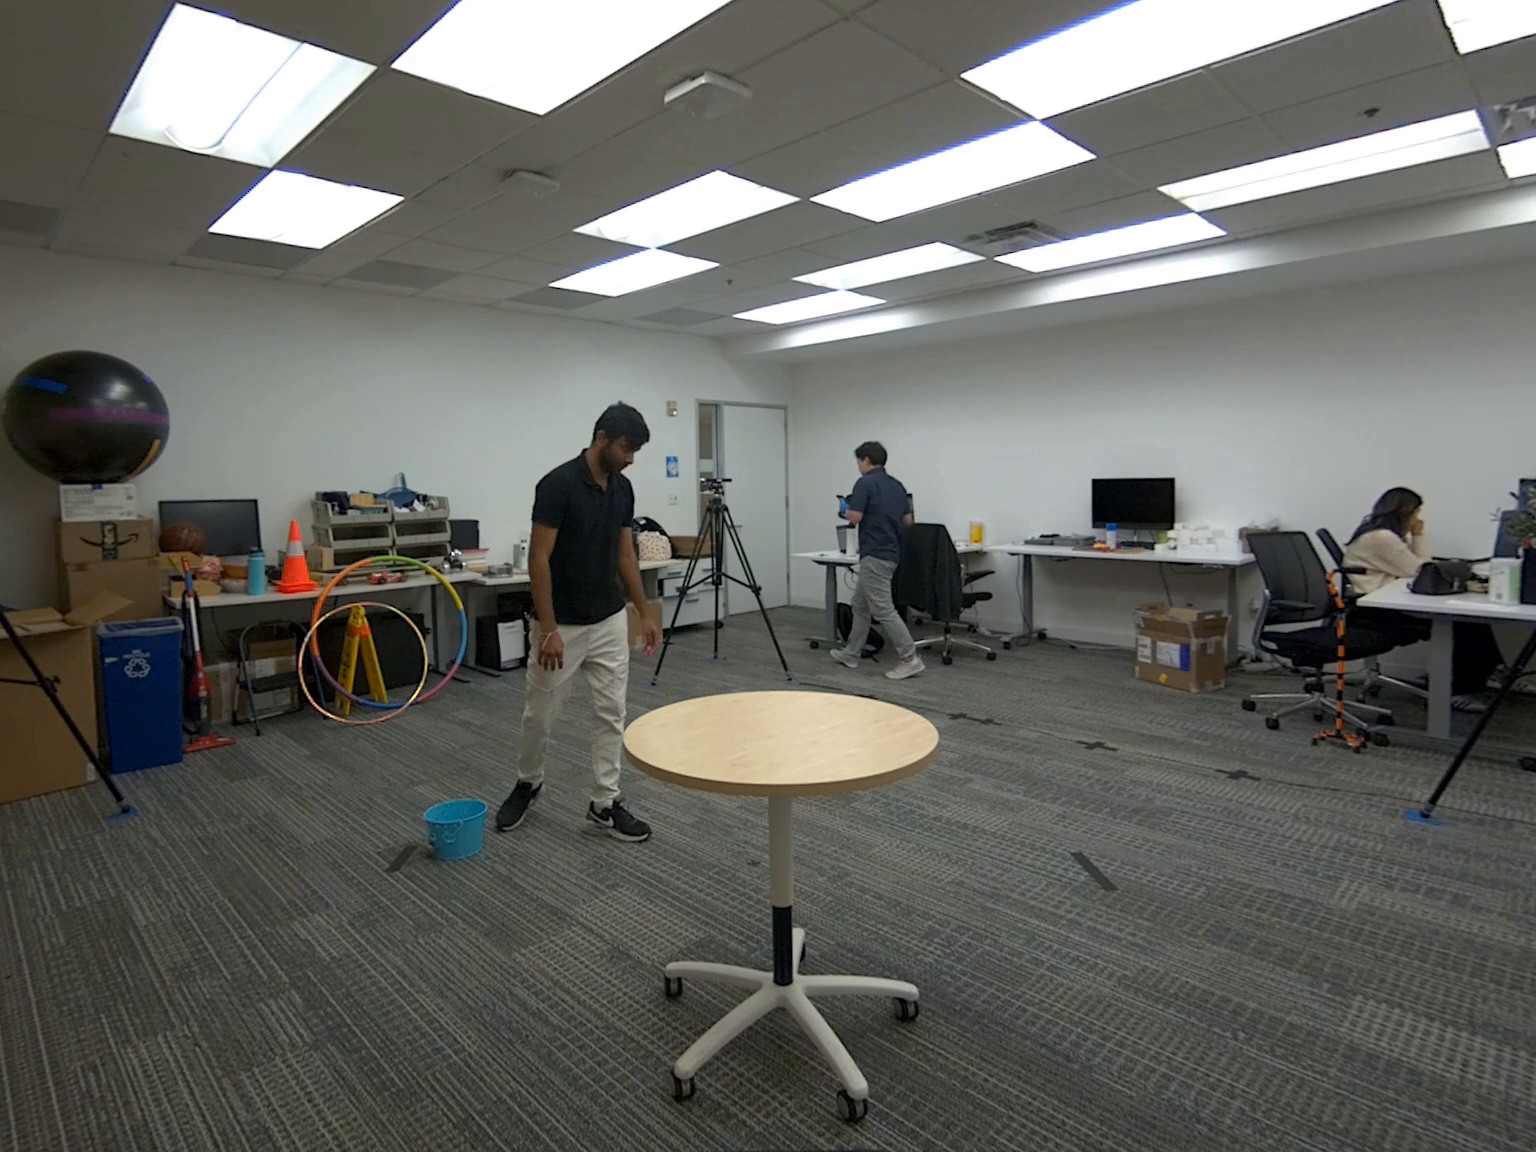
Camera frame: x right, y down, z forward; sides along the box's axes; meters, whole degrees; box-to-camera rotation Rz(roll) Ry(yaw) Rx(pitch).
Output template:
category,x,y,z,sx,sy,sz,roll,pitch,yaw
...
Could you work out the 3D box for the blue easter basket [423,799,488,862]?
category,x,y,z,sx,sy,sz,roll,pitch,yaw
blue easter basket,-1.193,0.970,3.280,0.243,0.155,0.245,-1,6,-2
